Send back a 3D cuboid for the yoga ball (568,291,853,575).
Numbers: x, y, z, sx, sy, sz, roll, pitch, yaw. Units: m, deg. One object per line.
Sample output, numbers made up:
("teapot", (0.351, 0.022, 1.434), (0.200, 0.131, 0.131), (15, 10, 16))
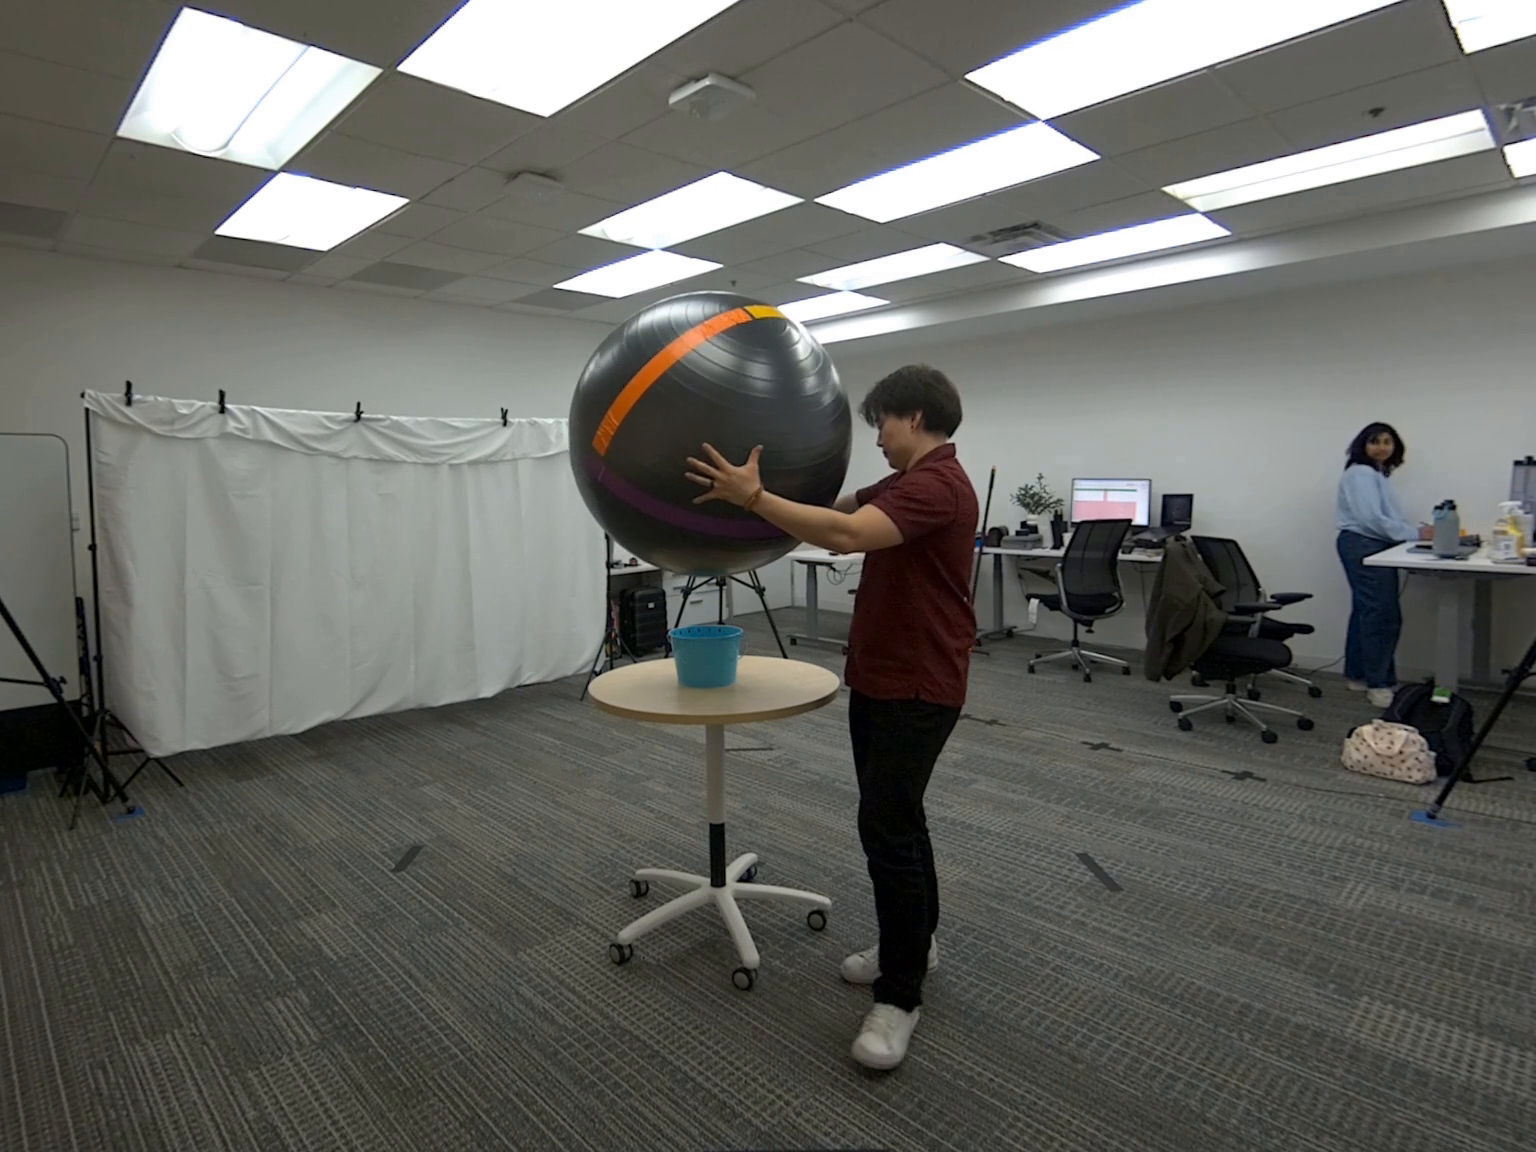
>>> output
("yoga ball", (-0.152, -0.372, 2.290), (0.757, 0.755, 0.762), (-1, 5, -2))
